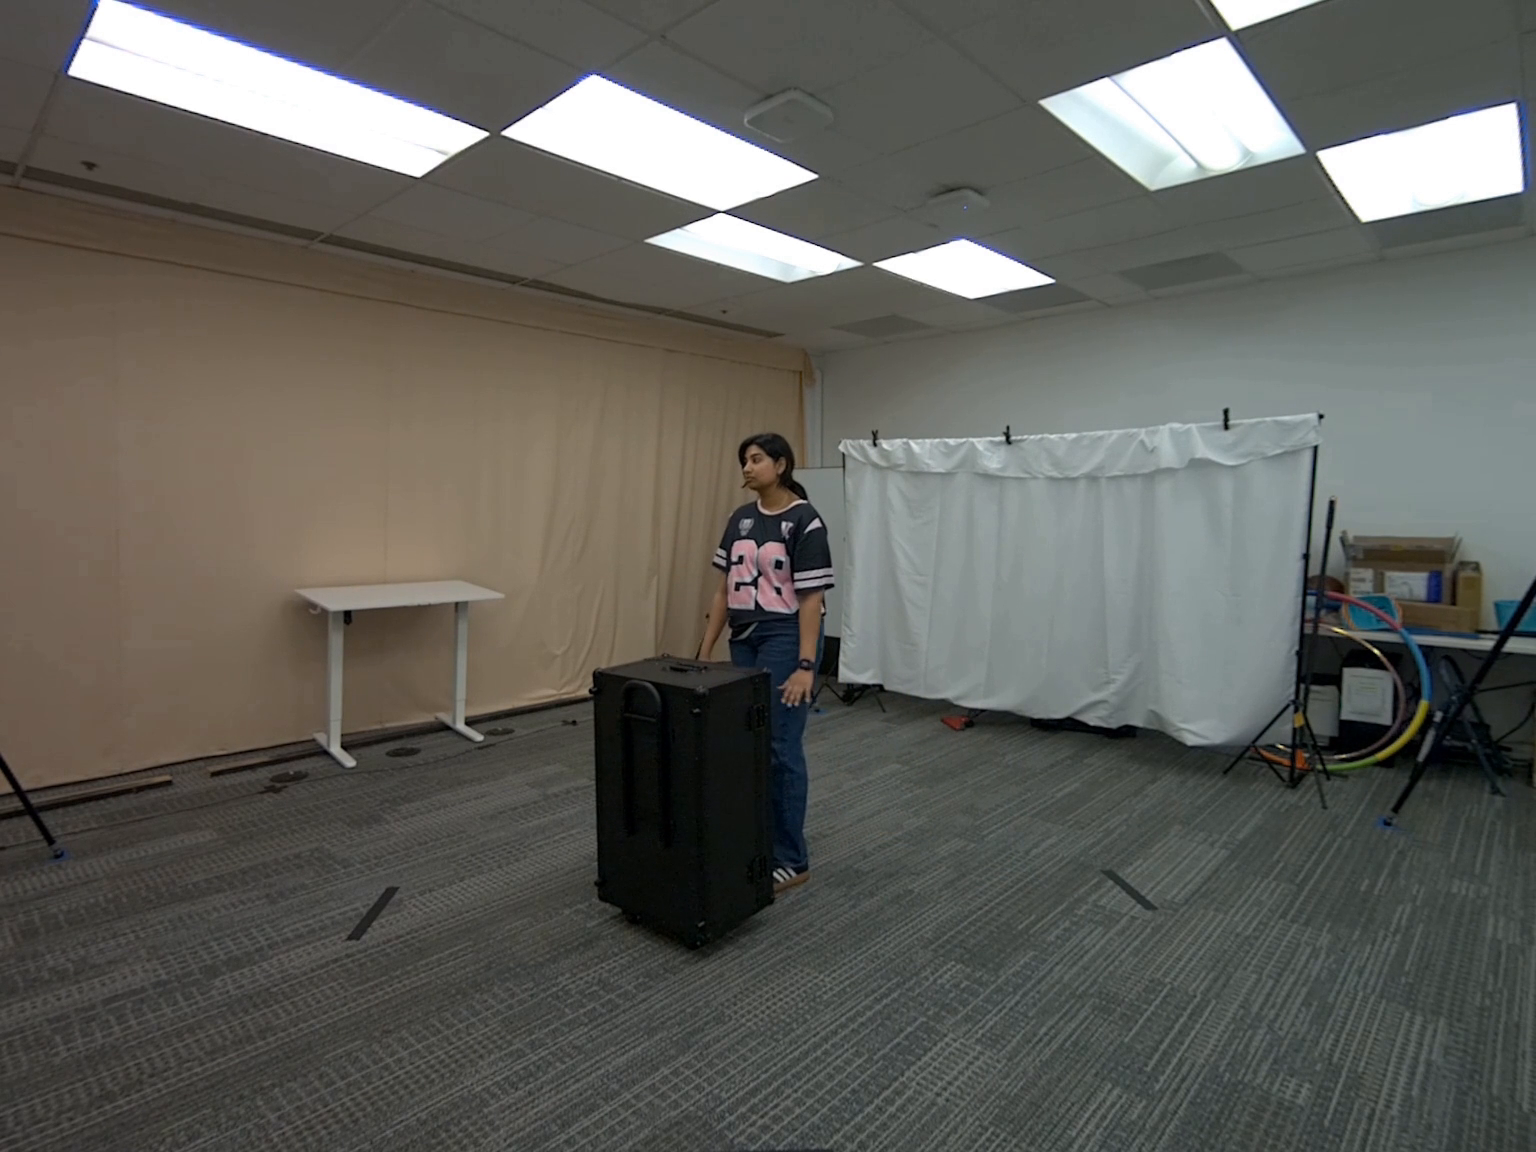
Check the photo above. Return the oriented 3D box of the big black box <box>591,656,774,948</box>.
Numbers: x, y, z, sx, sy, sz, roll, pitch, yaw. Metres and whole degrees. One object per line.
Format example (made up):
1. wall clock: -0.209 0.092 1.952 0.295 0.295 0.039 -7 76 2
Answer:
1. big black box: -0.279 0.743 2.790 0.540 0.866 0.374 2 4 38
